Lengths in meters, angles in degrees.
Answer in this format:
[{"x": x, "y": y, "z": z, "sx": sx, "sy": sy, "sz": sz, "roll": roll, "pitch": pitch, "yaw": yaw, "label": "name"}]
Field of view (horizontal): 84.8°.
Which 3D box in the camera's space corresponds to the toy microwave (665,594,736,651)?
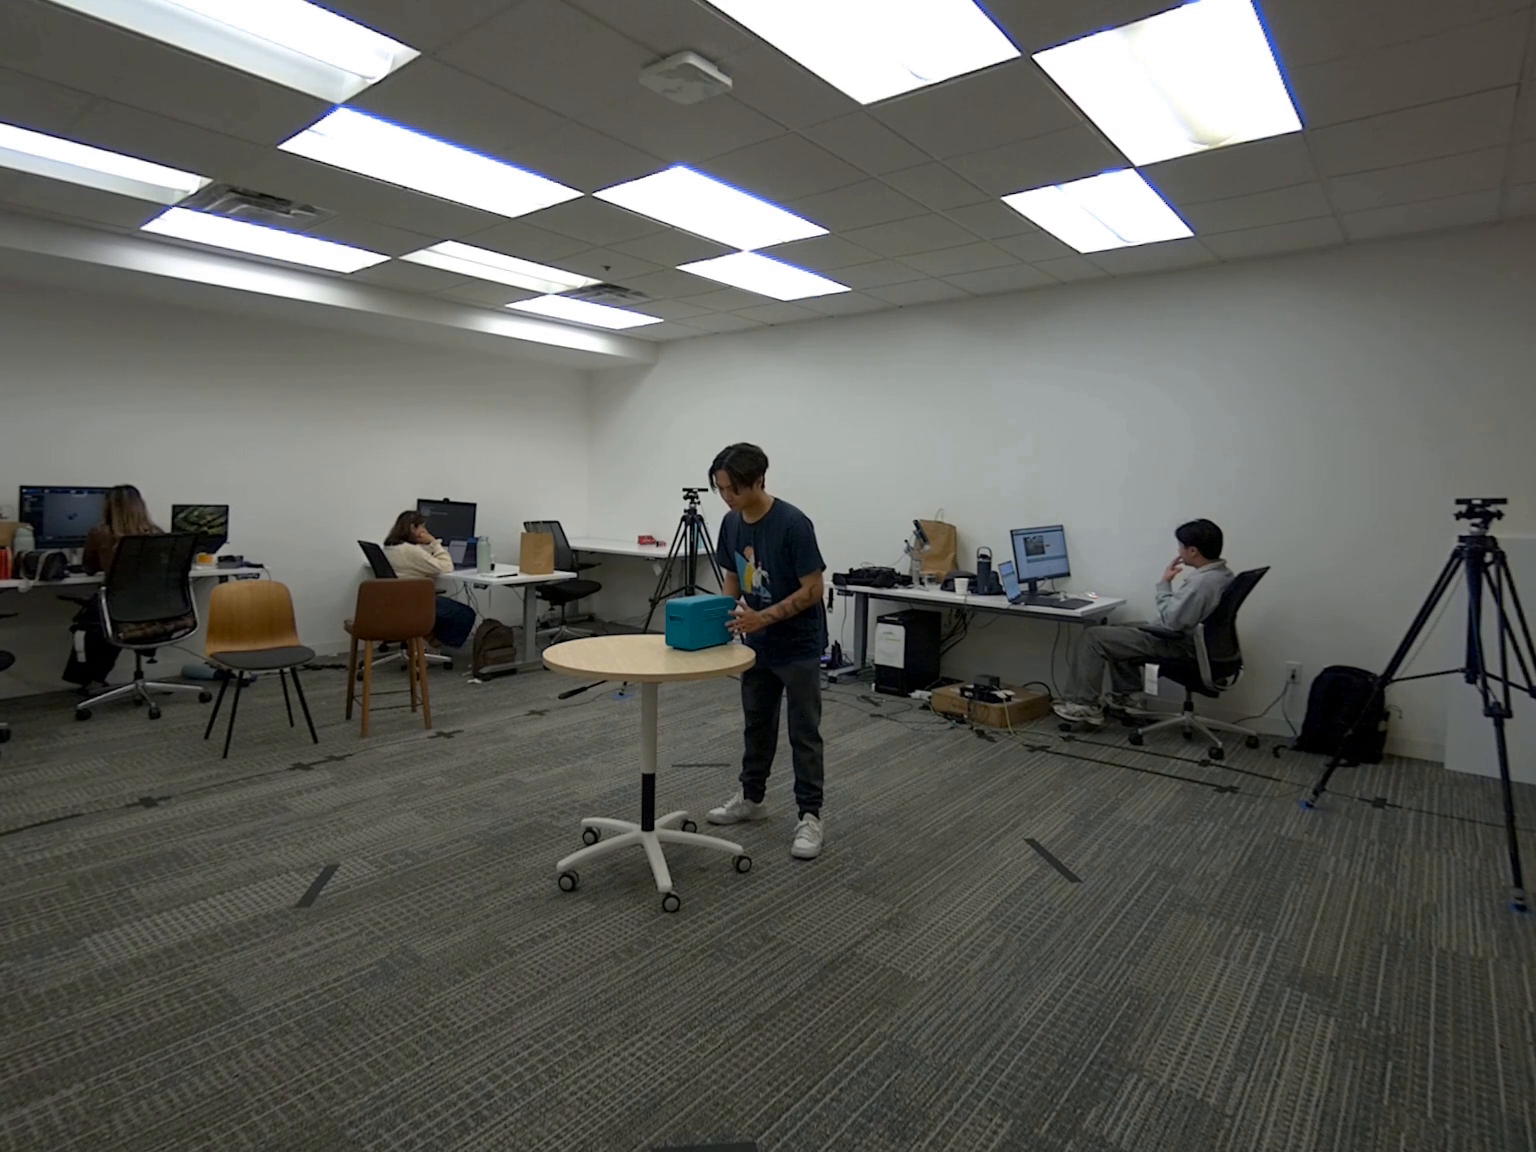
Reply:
[{"x": -0.274, "y": 0.171, "z": 3.233, "sx": 0.157, "sy": 0.183, "sz": 0.278, "roll": 3, "pitch": 4, "yaw": 35, "label": "toy microwave"}]
